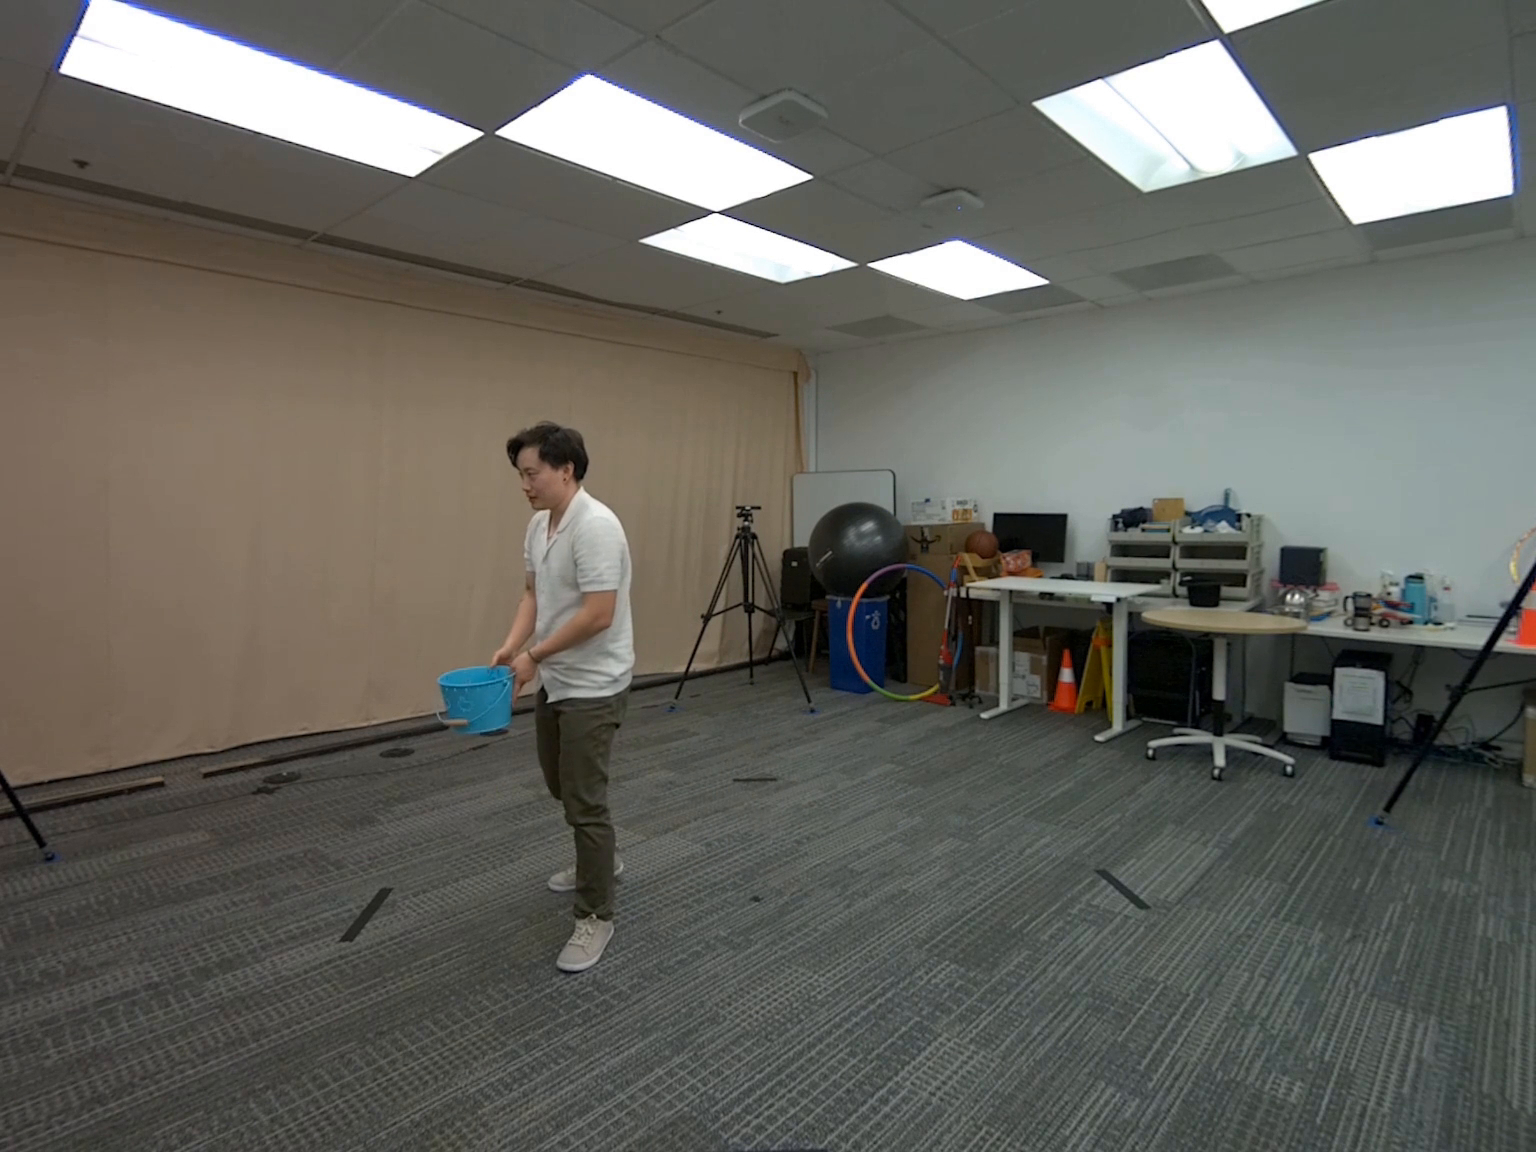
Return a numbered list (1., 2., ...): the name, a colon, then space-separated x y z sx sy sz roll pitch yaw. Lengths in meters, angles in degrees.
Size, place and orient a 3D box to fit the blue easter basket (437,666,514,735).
1. blue easter basket: -0.891 0.381 2.550 0.243 0.155 0.245 -2 7 -2
